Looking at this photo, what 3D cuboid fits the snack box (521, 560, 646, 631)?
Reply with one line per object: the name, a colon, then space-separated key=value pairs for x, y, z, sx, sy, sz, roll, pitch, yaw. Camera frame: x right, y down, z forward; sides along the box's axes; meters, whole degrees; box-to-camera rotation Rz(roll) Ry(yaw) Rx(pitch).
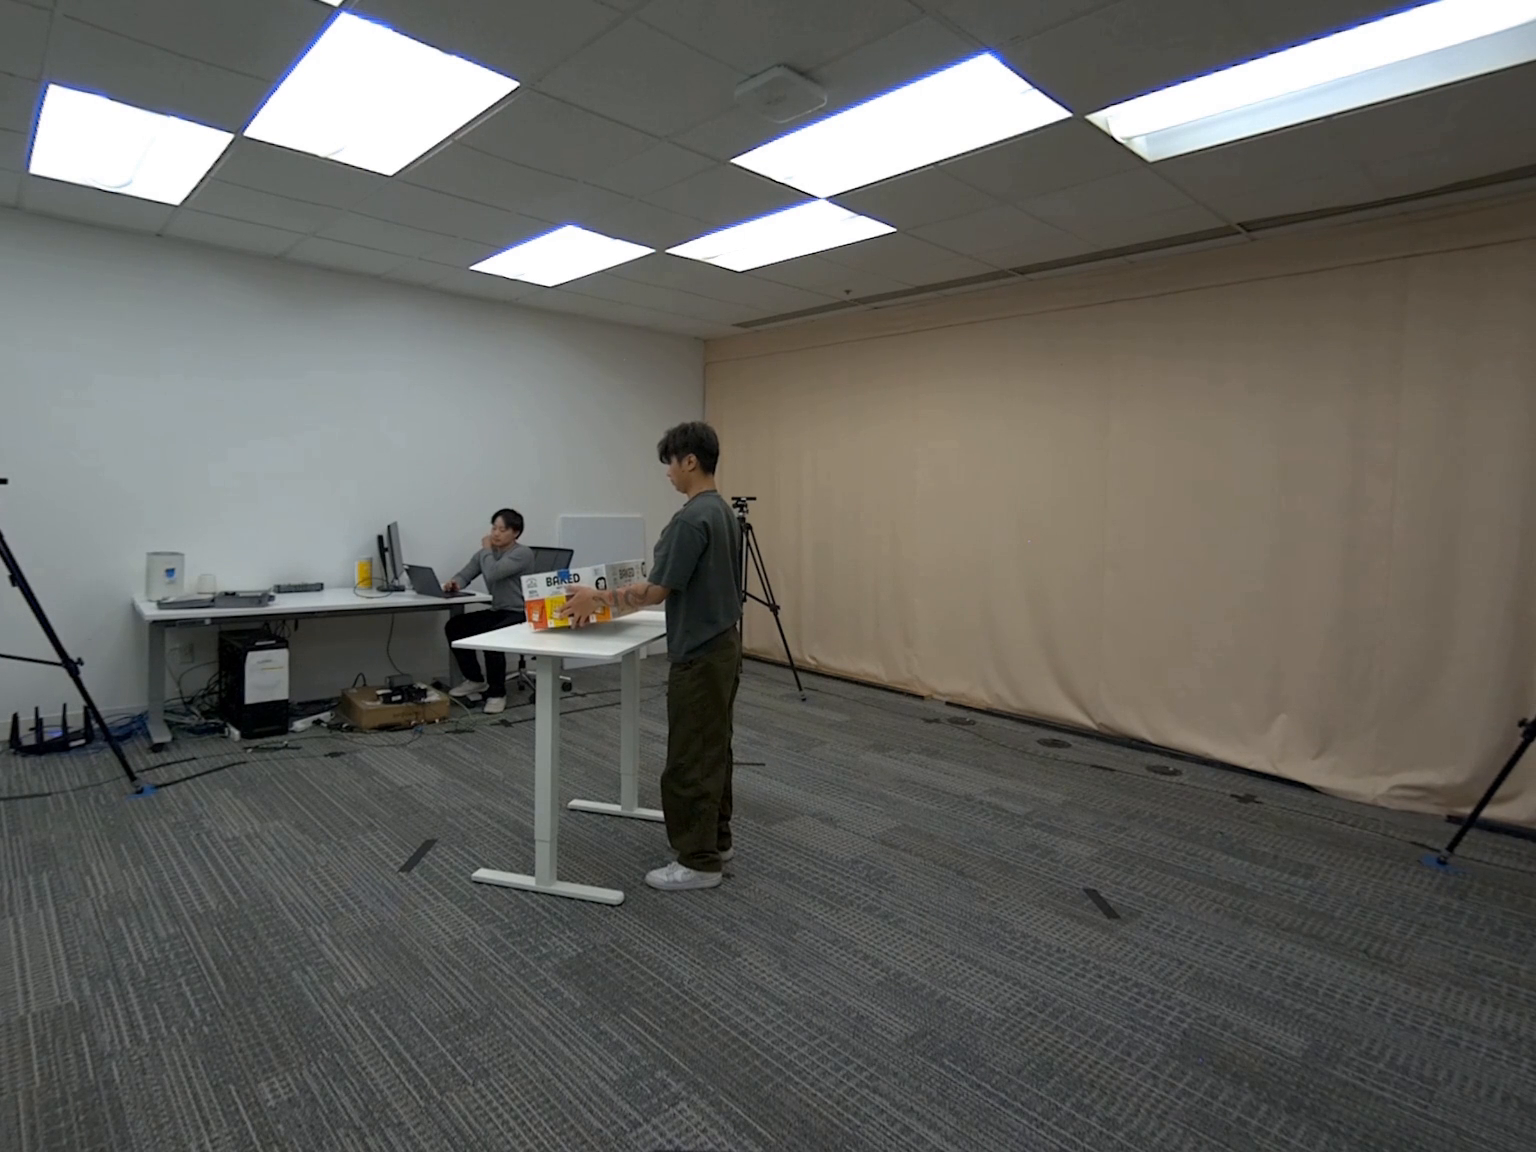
snack box: x=-0.692 y=0.066 z=3.249 sx=0.344 sy=0.206 sz=0.401 roll=-7 pitch=1 yaw=14
